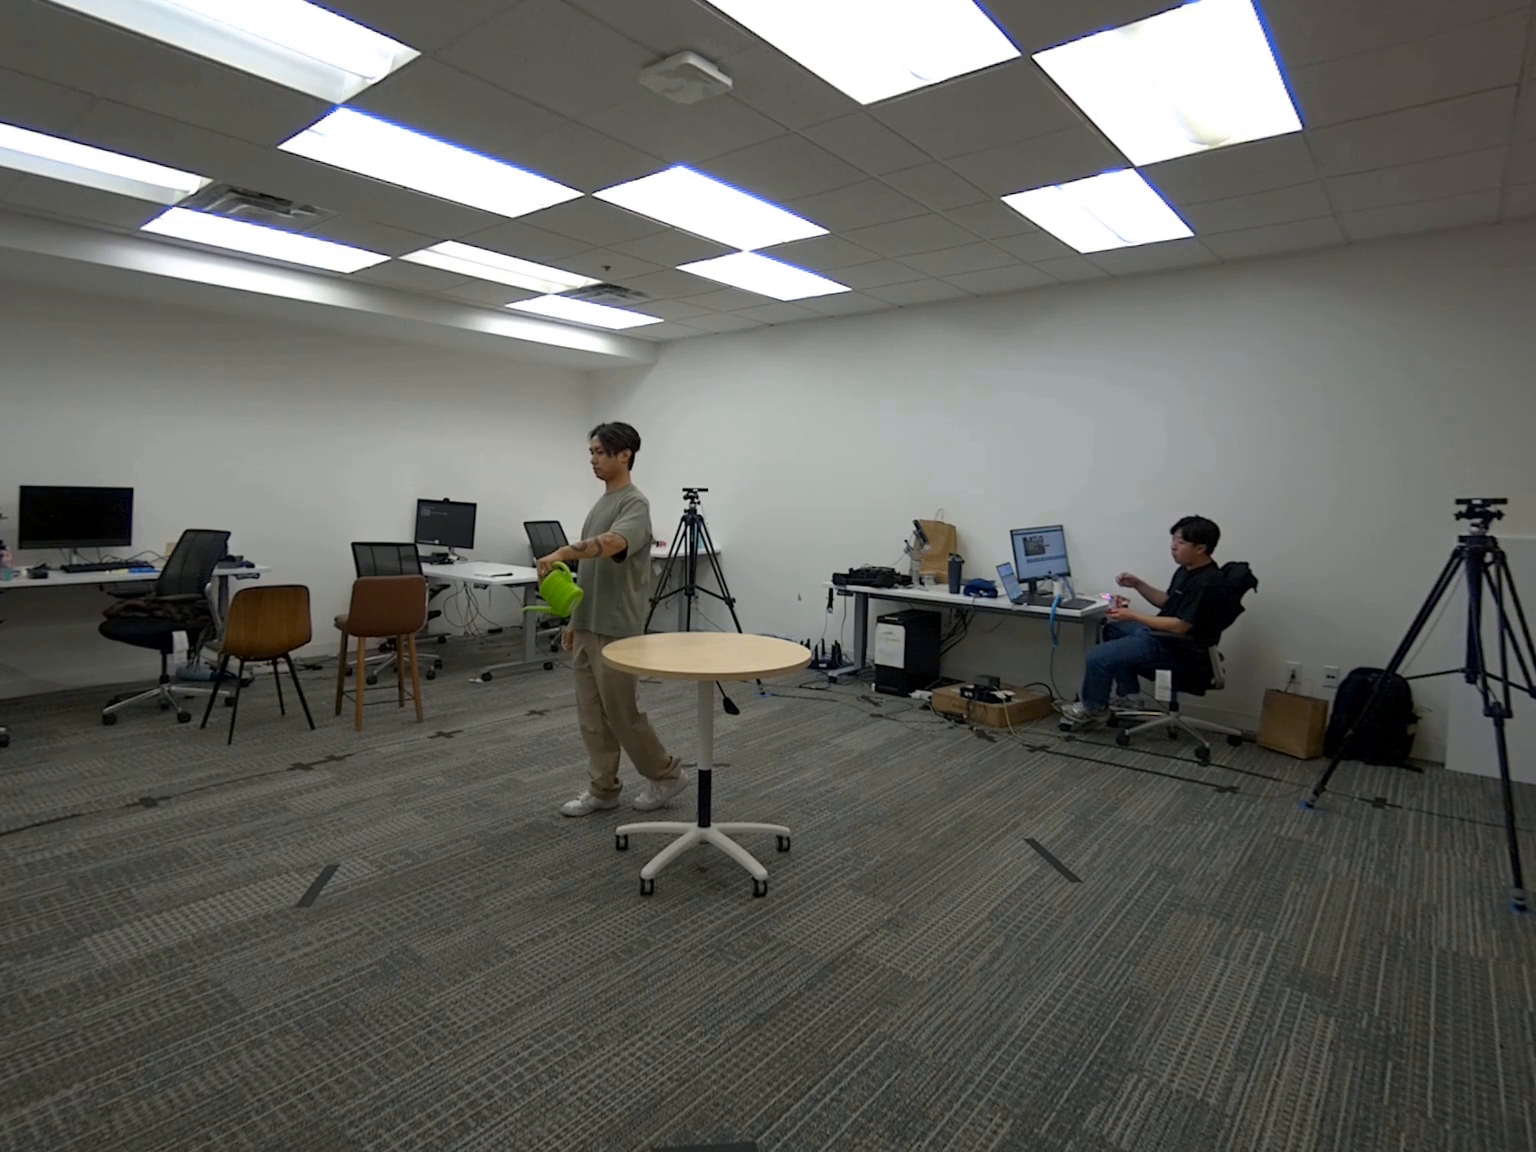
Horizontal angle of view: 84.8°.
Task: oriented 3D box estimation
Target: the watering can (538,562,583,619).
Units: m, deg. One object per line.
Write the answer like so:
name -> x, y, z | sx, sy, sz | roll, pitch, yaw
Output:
watering can -> -0.830, 0.082, 3.212 | 0.182, 0.276, 0.096 | 42, 28, 19
